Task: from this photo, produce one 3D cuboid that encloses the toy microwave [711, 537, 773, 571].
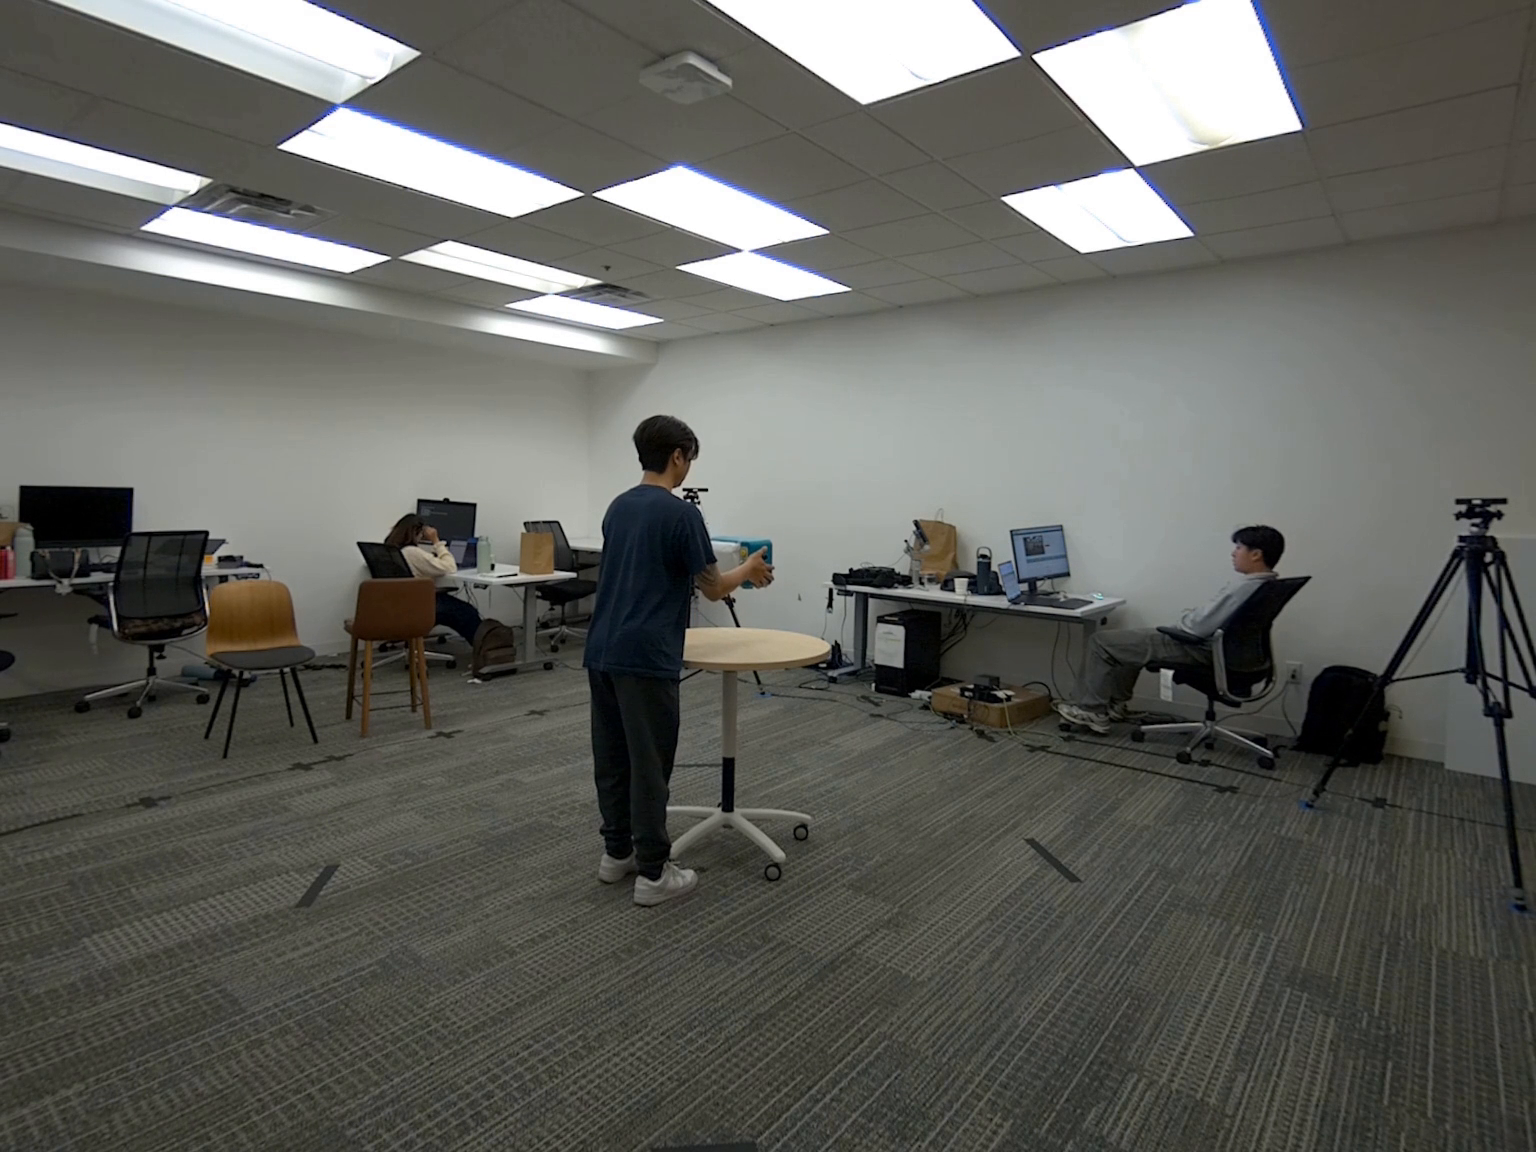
[{"bbox_3d":[-0.142,-0.057,3.295,0.296,0.183,0.148,5,7,43],"label":"toy microwave"}]
